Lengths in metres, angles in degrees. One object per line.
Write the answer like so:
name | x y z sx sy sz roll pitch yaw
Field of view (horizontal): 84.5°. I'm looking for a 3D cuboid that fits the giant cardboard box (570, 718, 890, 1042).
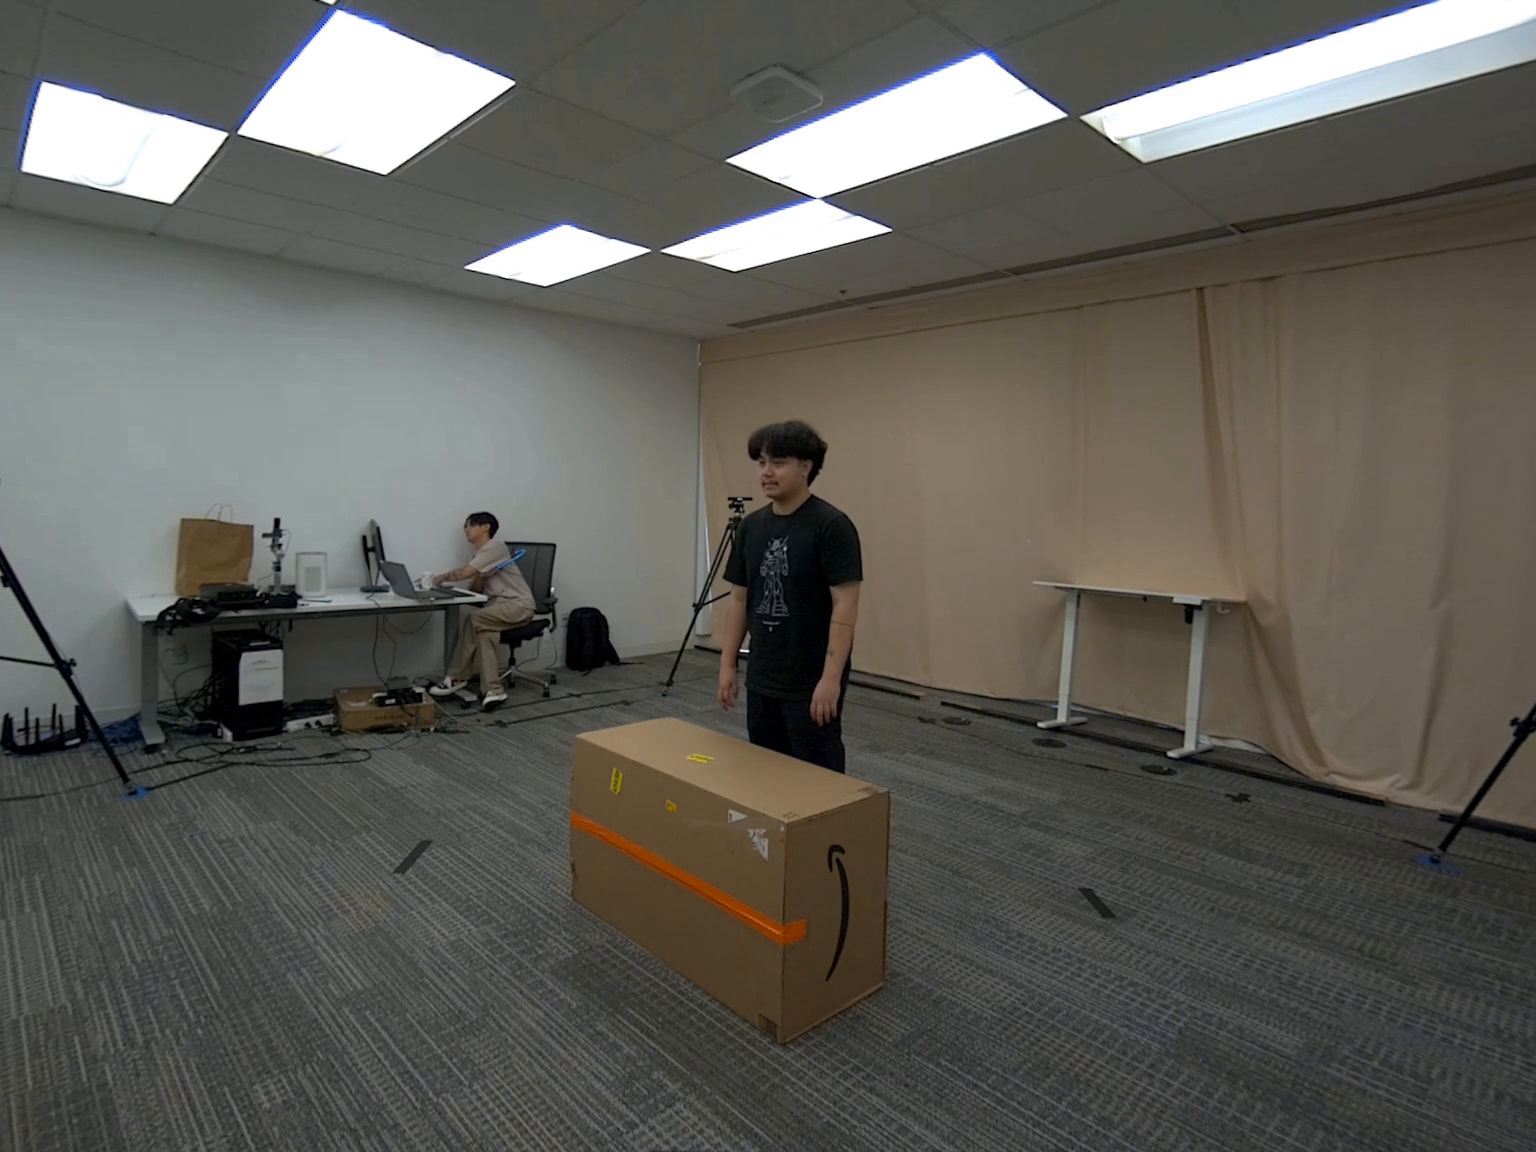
giant cardboard box | -0.173 0.865 2.640 0.437 0.582 1.053 -3 6 -43
